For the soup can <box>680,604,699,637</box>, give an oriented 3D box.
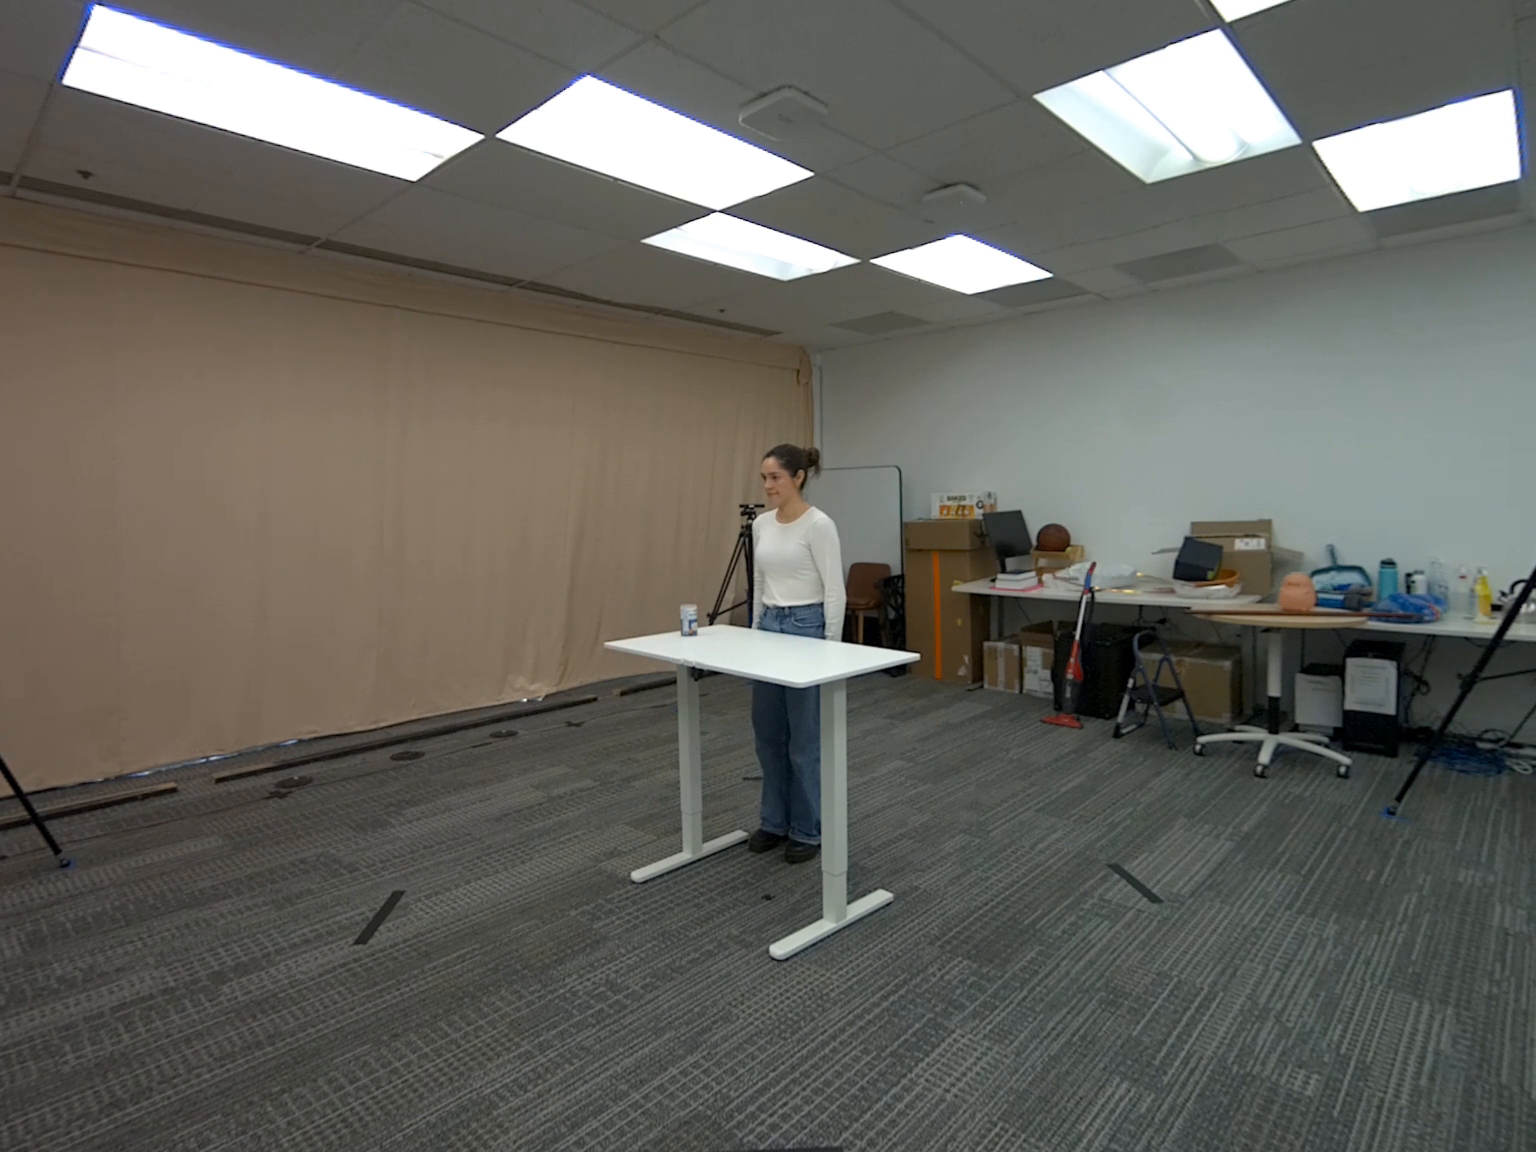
[{"bbox_3d":[-0.279,0.184,3.331,0.121,0.067,0.068,-10,5,-6],"label":"soup can"}]
